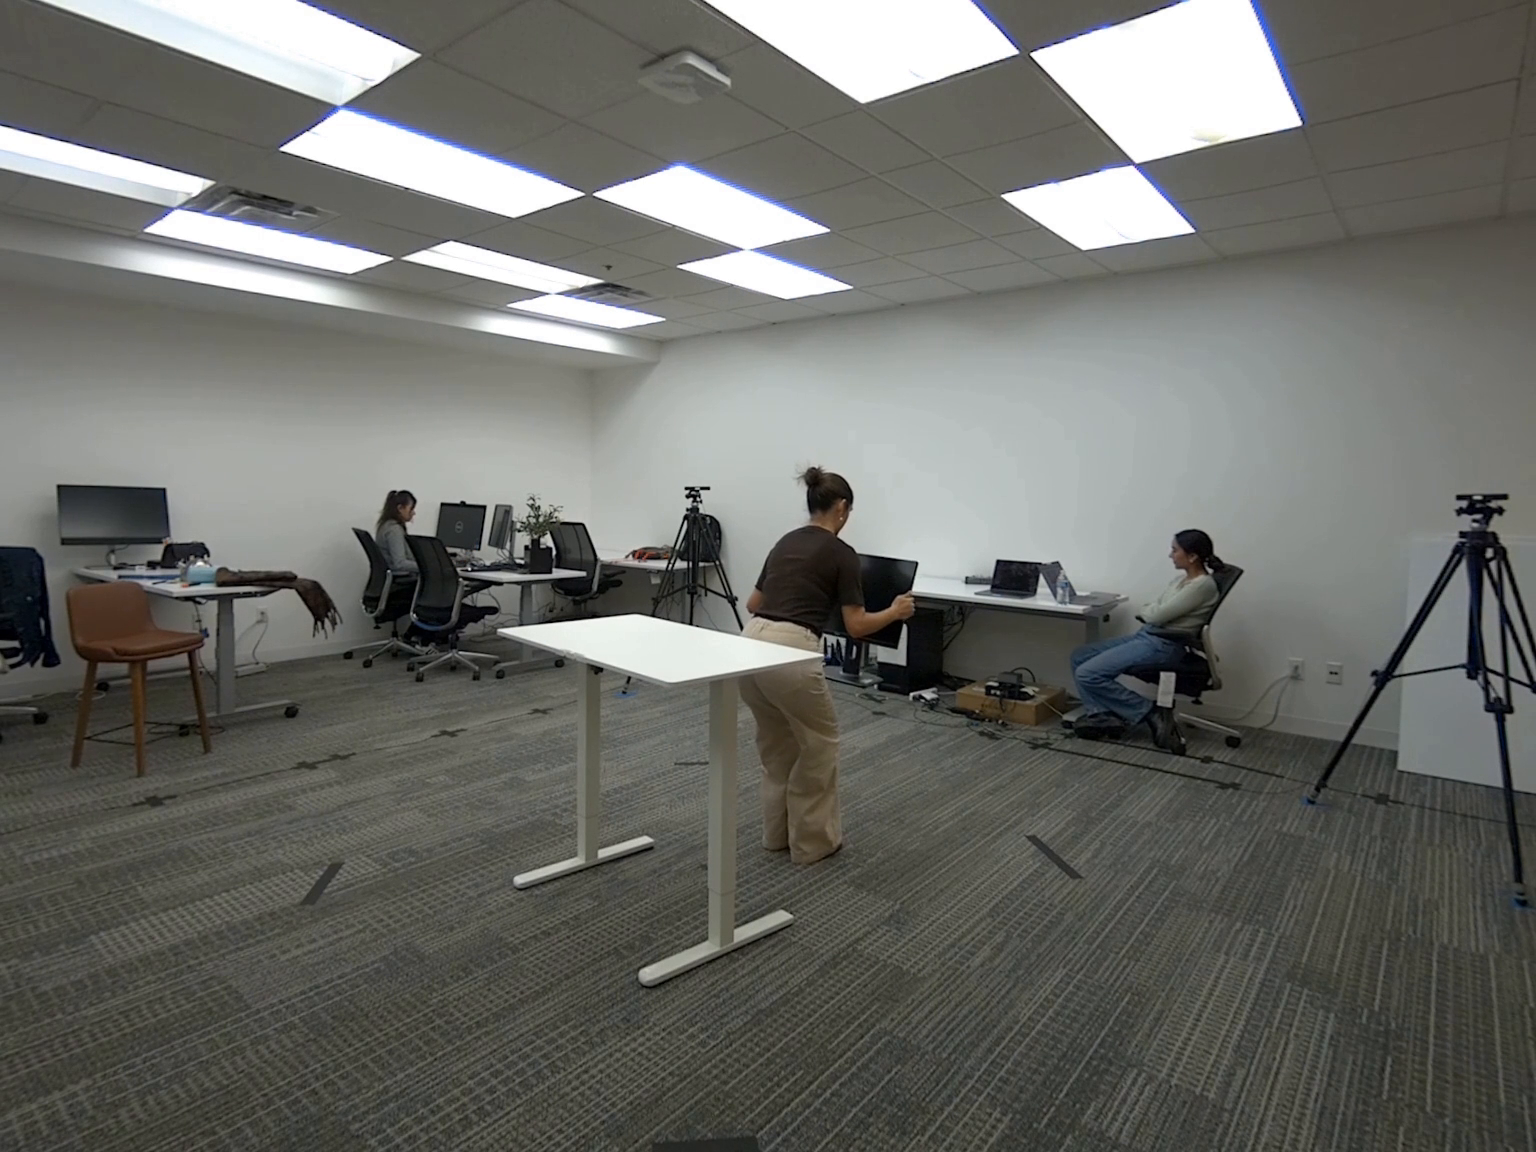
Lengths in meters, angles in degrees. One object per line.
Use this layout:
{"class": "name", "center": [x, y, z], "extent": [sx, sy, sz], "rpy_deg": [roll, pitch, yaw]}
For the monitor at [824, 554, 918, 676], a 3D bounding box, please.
{"class": "monitor", "center": [0.339, 0.166, 3.484], "extent": [0.558, 0.521, 0.181], "rpy_deg": [8, 4, 38]}
